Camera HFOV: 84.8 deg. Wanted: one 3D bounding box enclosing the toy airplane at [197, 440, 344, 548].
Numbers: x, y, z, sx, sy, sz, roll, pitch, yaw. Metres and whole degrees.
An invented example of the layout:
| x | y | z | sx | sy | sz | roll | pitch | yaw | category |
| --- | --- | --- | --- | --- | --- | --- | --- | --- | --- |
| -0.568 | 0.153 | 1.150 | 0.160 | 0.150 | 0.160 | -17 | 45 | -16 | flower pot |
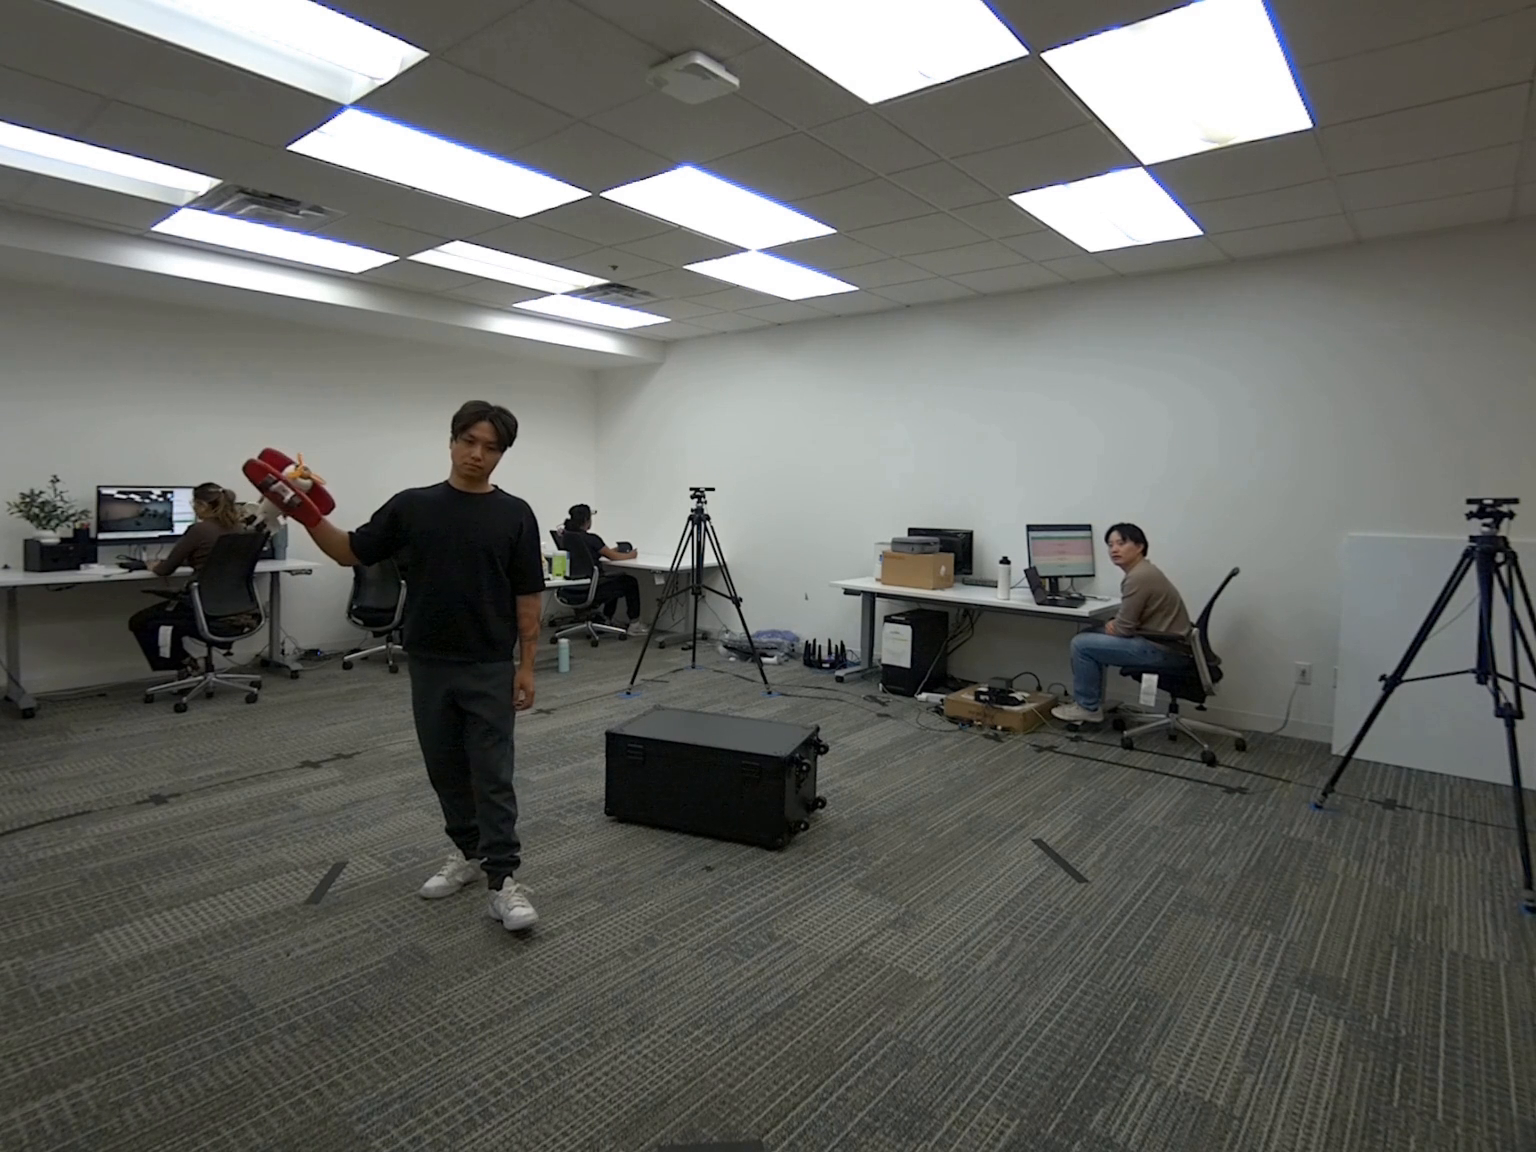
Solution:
| x | y | z | sx | sy | sz | roll | pitch | yaw | category |
| --- | --- | --- | --- | --- | --- | --- | --- | --- | --- |
| -1.460 | -0.239 | 2.478 | 0.265 | 0.243 | 0.158 | -3 | 36 | 21 | toy airplane |
